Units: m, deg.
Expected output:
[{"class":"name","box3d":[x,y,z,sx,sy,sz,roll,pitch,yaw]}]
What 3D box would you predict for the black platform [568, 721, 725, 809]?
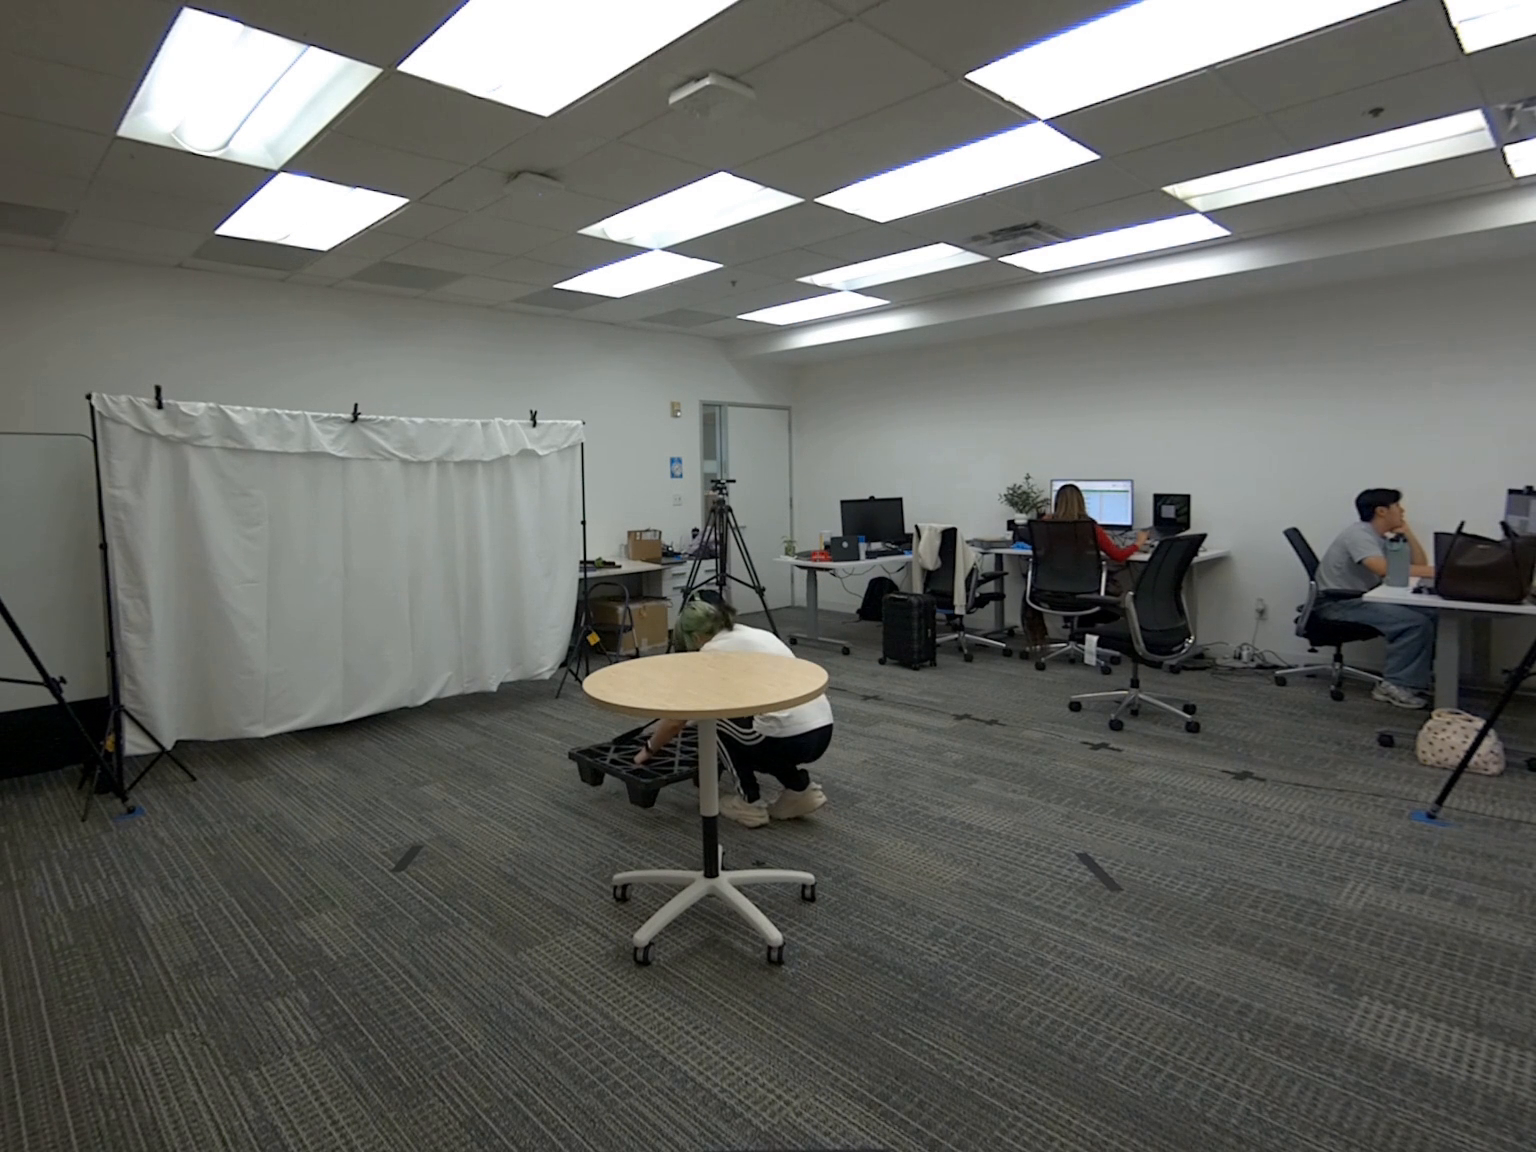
[{"class":"black platform","box3d":[-0.405,0.839,3.848,0.783,0.143,0.623,-4,5,-43]}]
